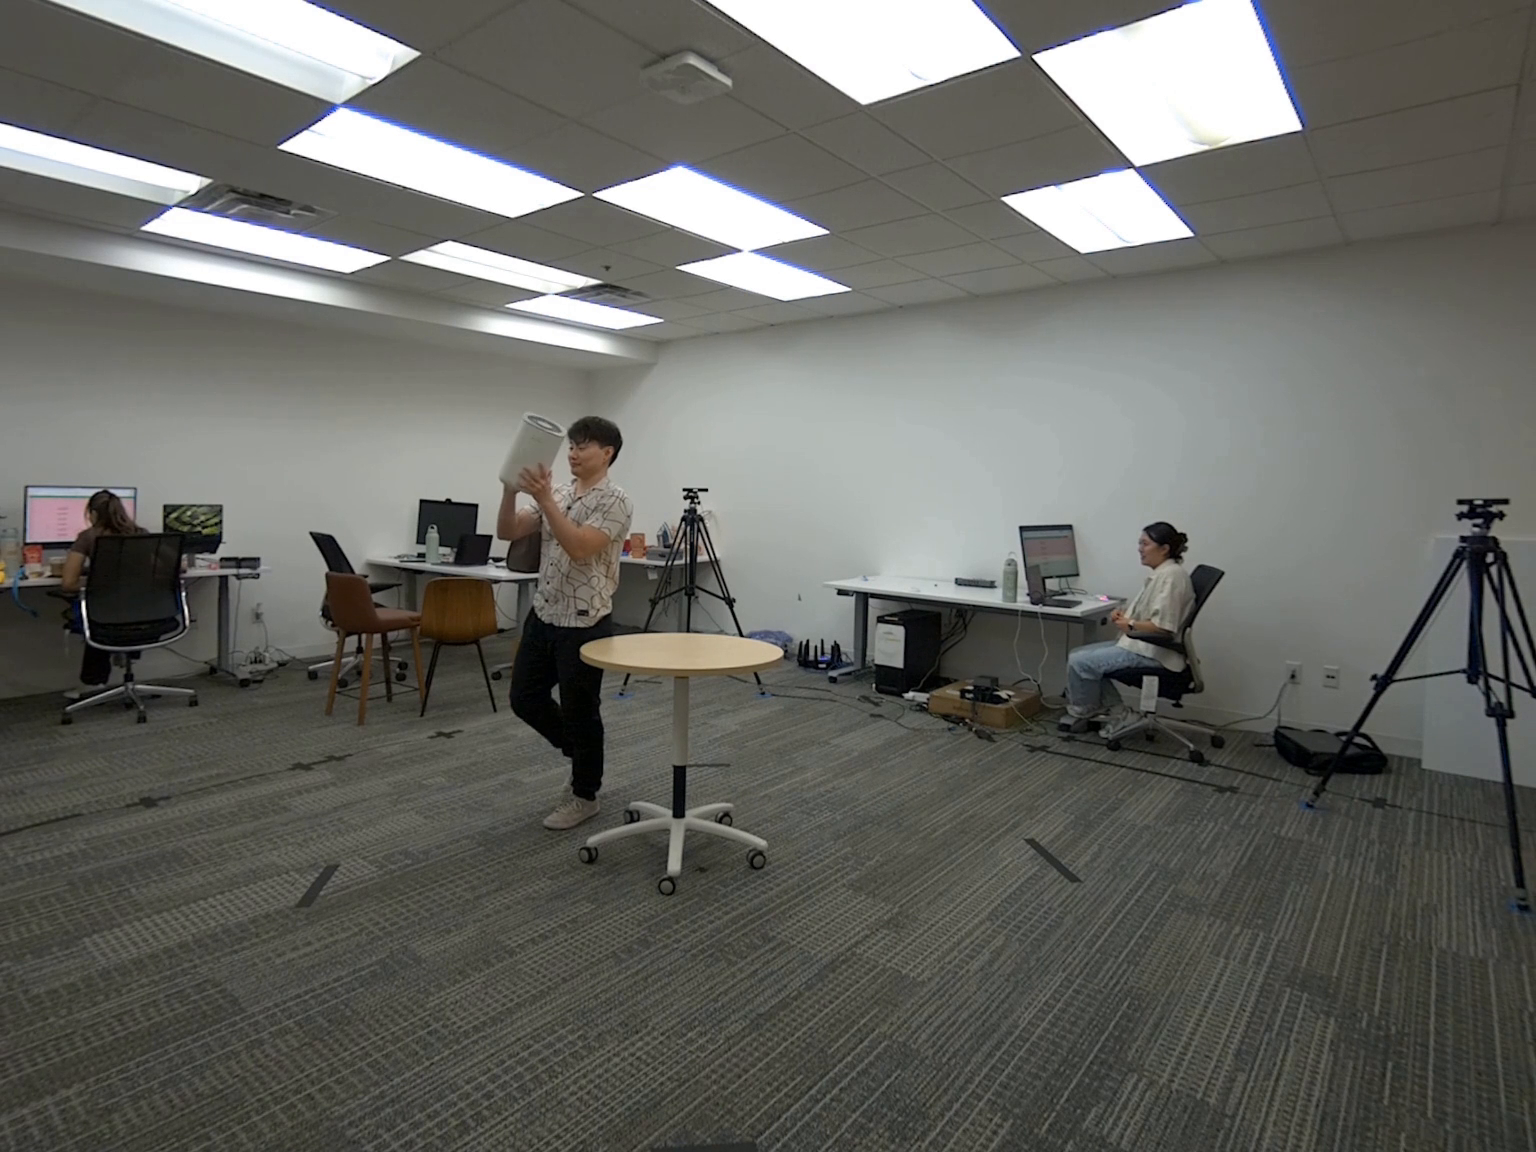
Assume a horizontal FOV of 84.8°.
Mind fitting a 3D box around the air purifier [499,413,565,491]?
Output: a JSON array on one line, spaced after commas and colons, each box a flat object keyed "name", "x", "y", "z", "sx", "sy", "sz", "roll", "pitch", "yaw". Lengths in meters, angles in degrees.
[{"name": "air purifier", "x": -0.924, "y": -0.468, "z": 3.246, "sx": 0.167, "sy": 0.264, "sz": 0.176, "roll": 22, "pitch": 17, "yaw": -18}]
